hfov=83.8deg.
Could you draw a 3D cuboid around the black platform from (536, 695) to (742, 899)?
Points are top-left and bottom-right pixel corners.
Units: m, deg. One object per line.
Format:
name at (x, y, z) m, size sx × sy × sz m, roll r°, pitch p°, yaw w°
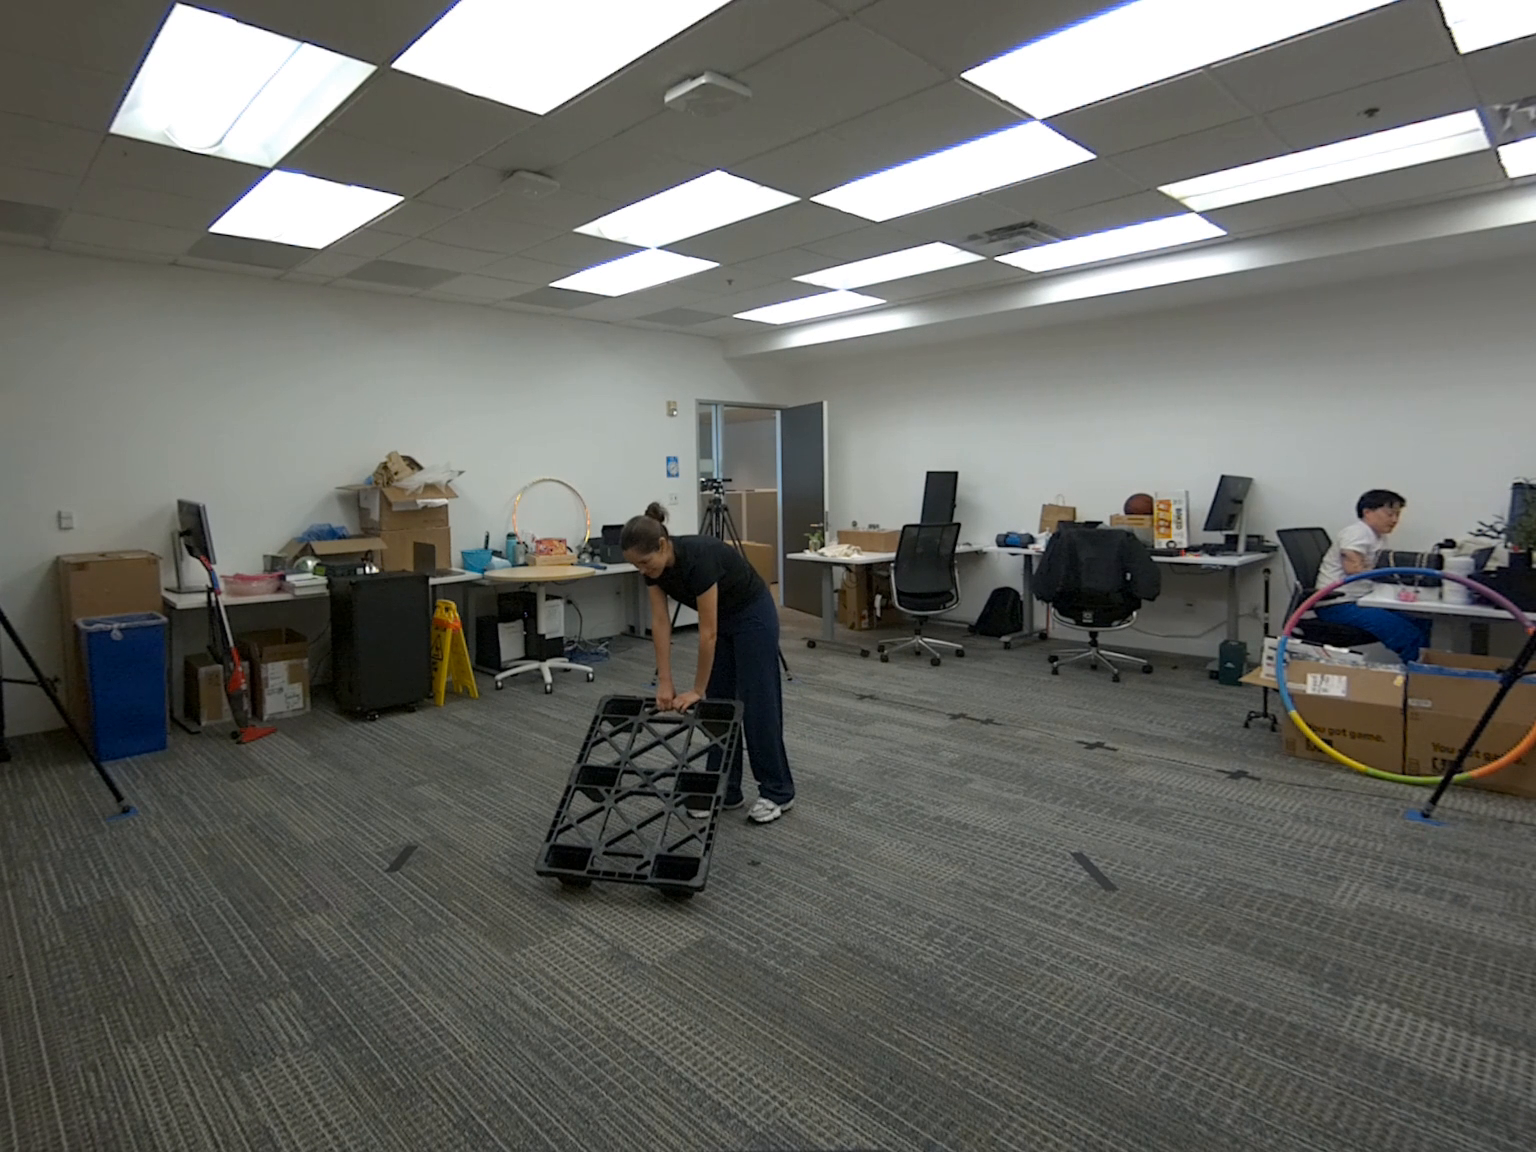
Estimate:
black platform at (-0.435, 0.785, 3.175) m, size 0.613 × 0.139 × 0.820 m, roll 0°, pitch 39°, yaw 12°
